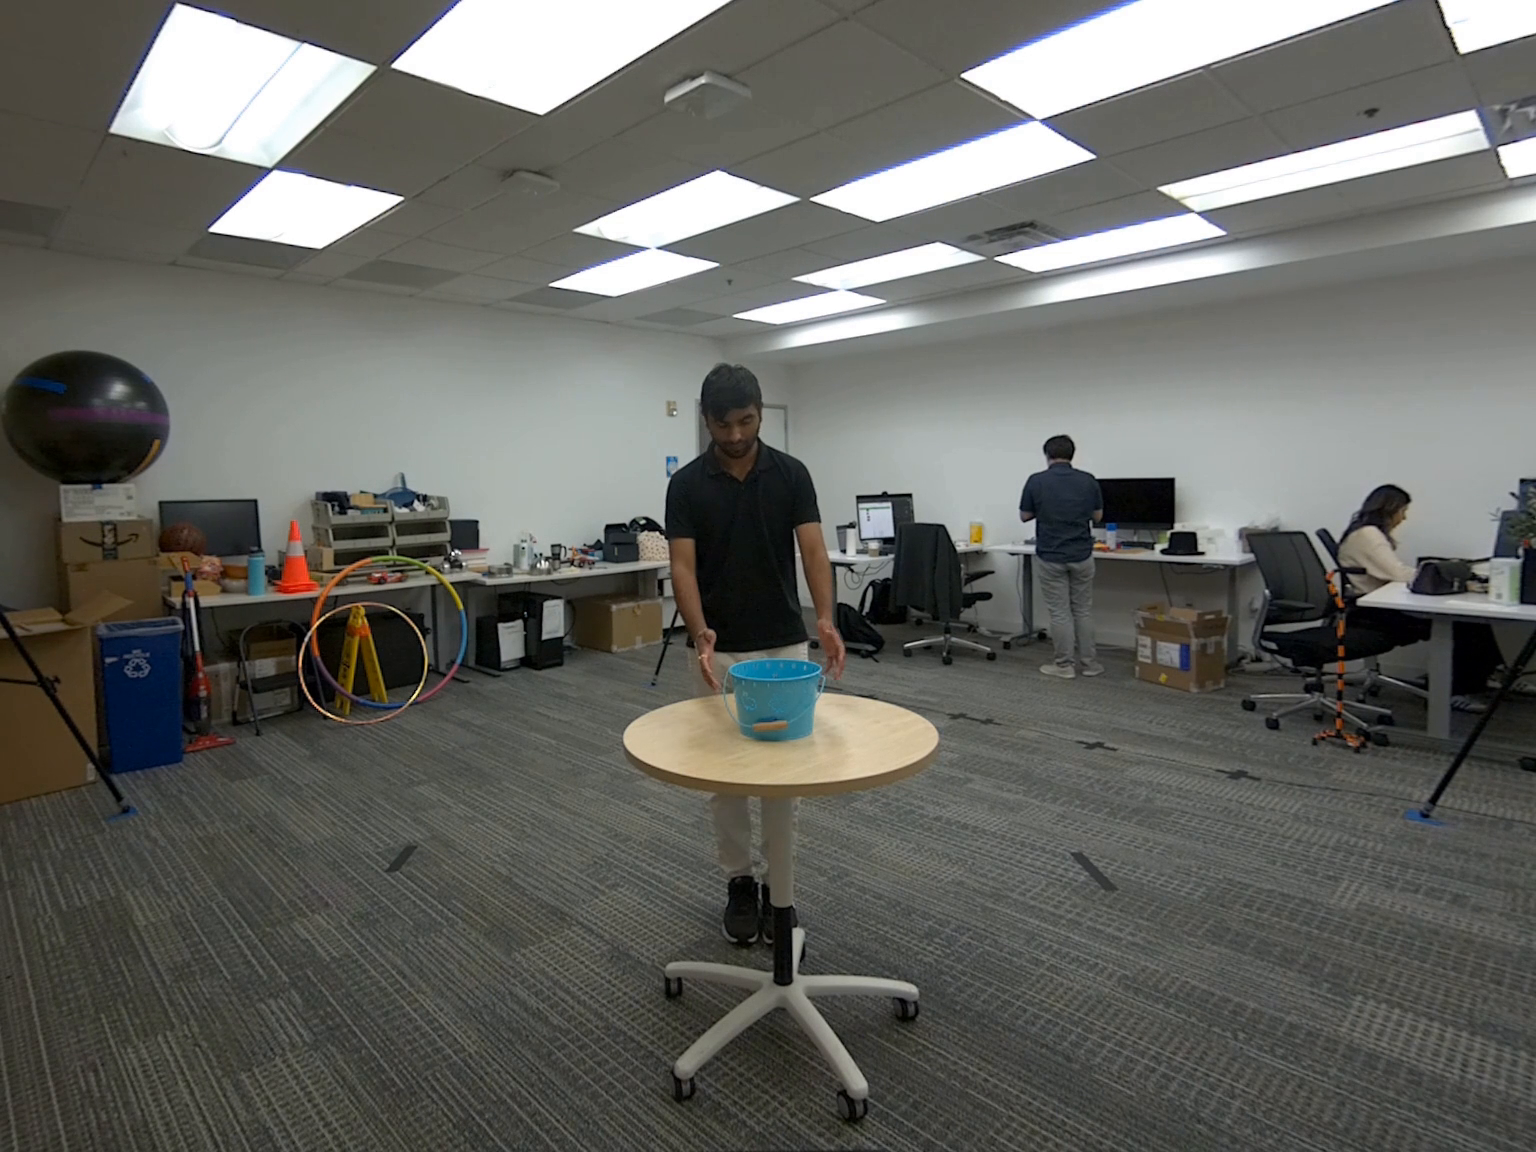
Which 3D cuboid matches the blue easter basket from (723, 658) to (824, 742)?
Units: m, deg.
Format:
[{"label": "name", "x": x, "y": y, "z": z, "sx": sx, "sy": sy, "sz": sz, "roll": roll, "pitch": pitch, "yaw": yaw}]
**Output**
[{"label": "blue easter basket", "x": 0.018, "y": 0.307, "z": 2.095, "sx": 0.243, "sy": 0.155, "sz": 0.244, "roll": -1, "pitch": 4, "yaw": -2}]
